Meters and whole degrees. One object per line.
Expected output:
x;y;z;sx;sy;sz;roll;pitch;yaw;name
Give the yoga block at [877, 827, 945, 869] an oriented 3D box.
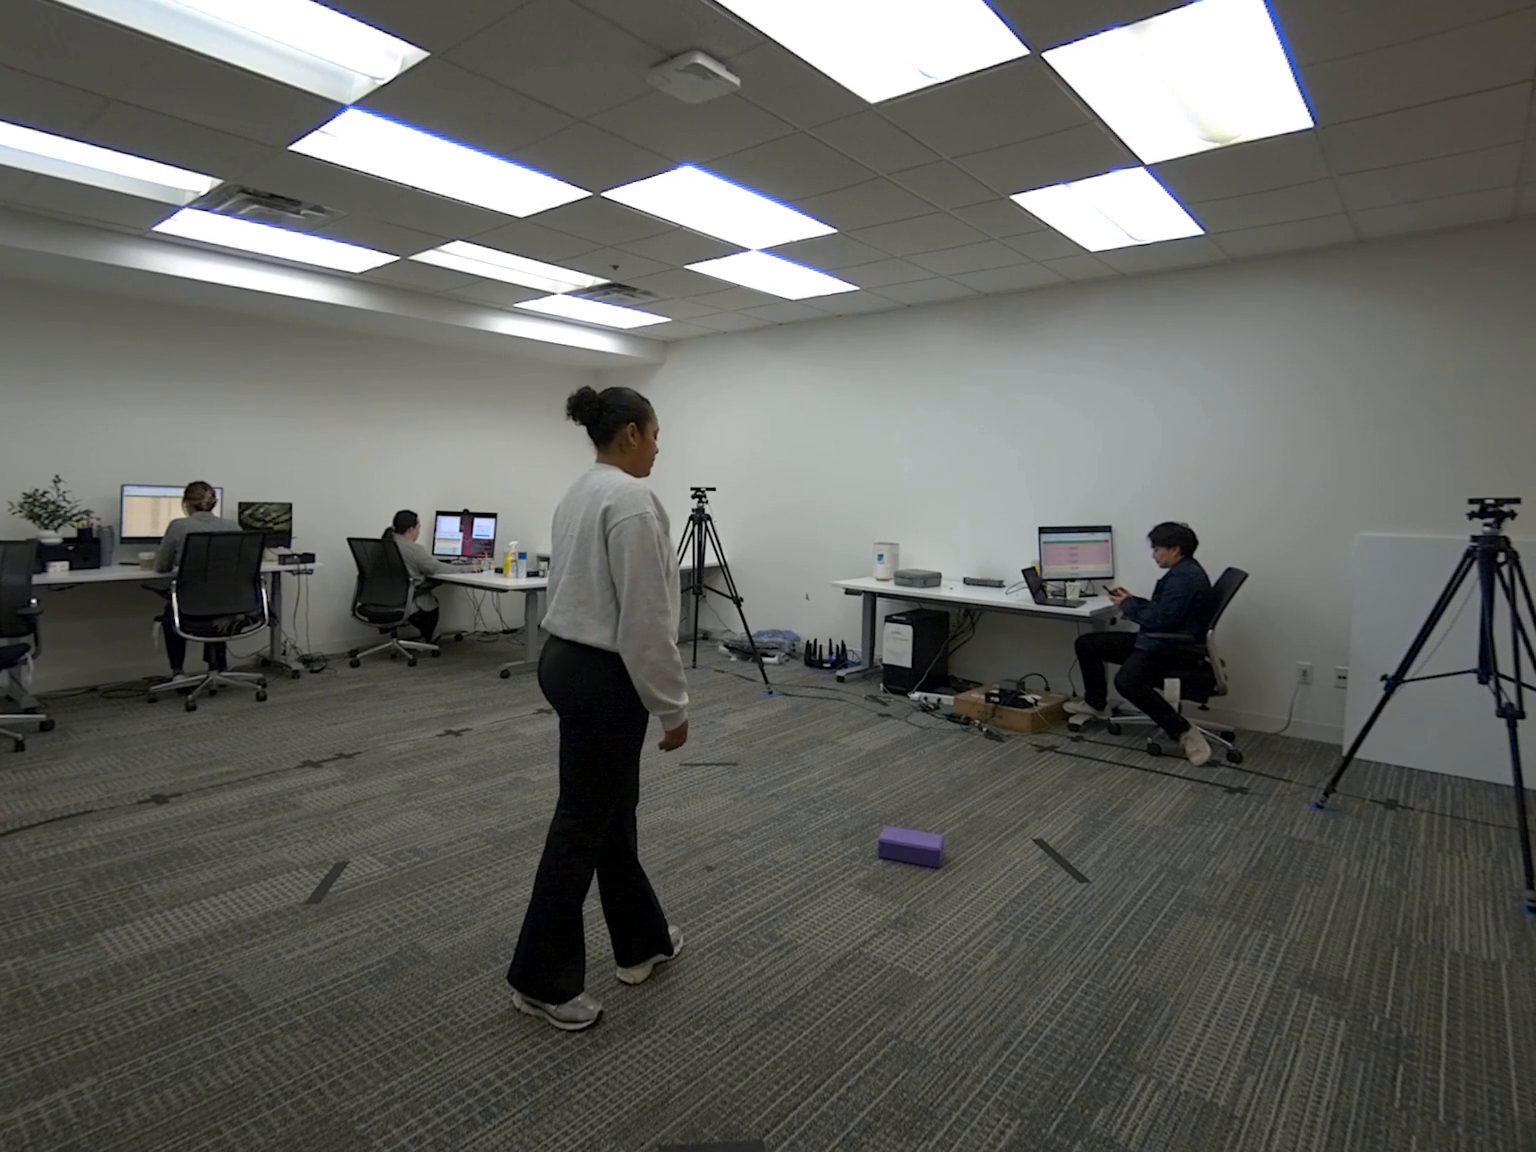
0.543;1.031;3.253;0.234;0.076;0.146;3;6;20;yoga block
